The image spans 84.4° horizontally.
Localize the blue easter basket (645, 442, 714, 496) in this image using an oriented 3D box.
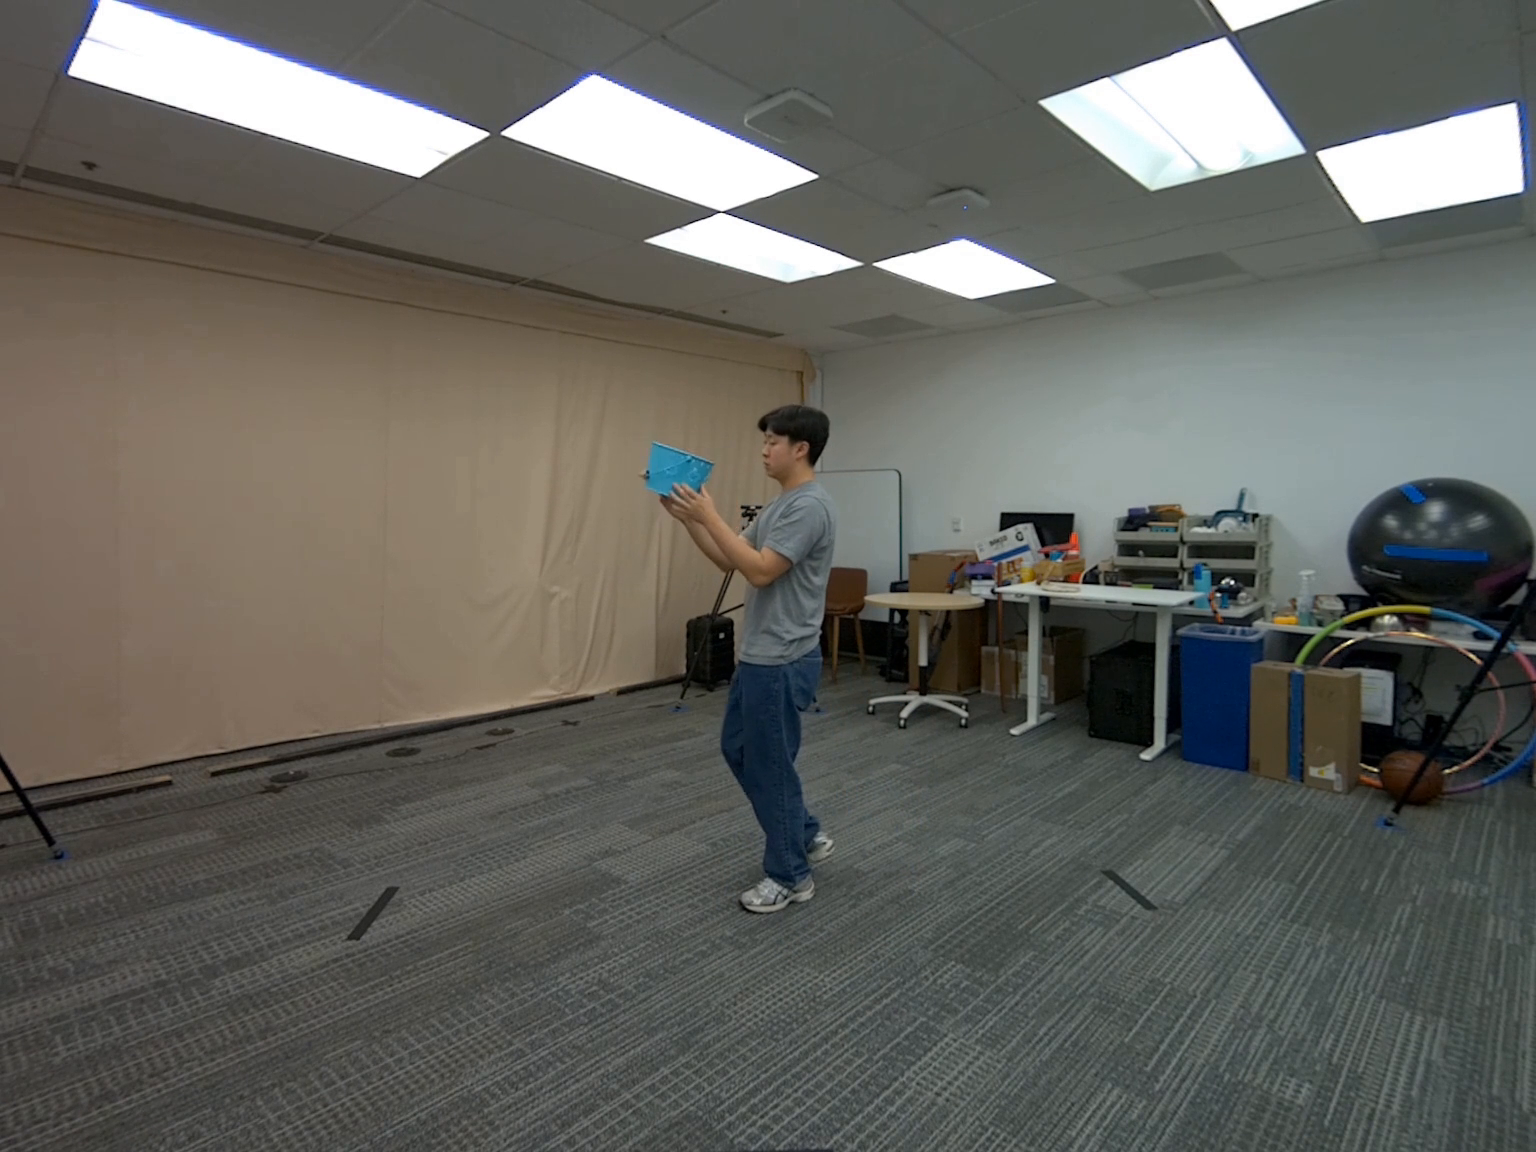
[{"bbox_3d":[-0.308,-0.346,2.840,0.243,0.155,0.245,20,6,-4],"label":"blue easter basket"}]
